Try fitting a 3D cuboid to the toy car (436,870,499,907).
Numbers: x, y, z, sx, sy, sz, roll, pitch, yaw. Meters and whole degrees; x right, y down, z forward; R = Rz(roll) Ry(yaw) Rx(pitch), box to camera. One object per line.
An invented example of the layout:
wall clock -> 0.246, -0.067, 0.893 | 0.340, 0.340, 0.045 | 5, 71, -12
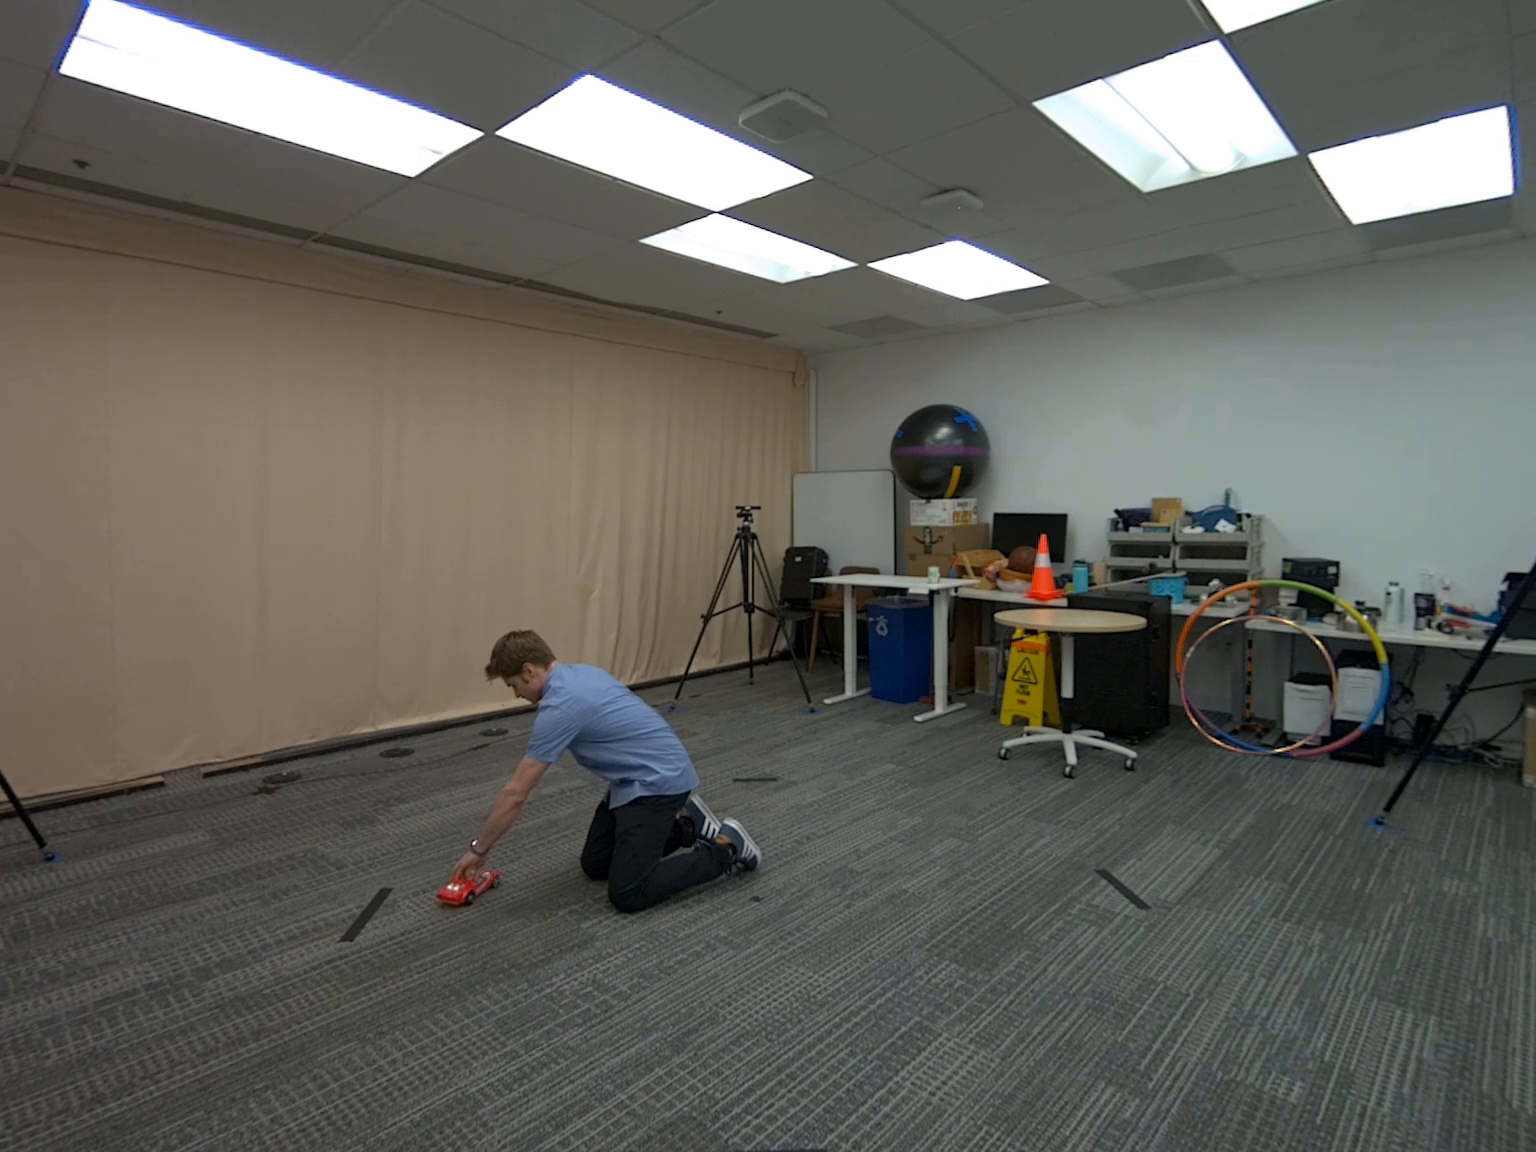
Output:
toy car -> -1.079, 1.126, 3.024 | 0.133, 0.083, 0.248 | 1, -6, 21
